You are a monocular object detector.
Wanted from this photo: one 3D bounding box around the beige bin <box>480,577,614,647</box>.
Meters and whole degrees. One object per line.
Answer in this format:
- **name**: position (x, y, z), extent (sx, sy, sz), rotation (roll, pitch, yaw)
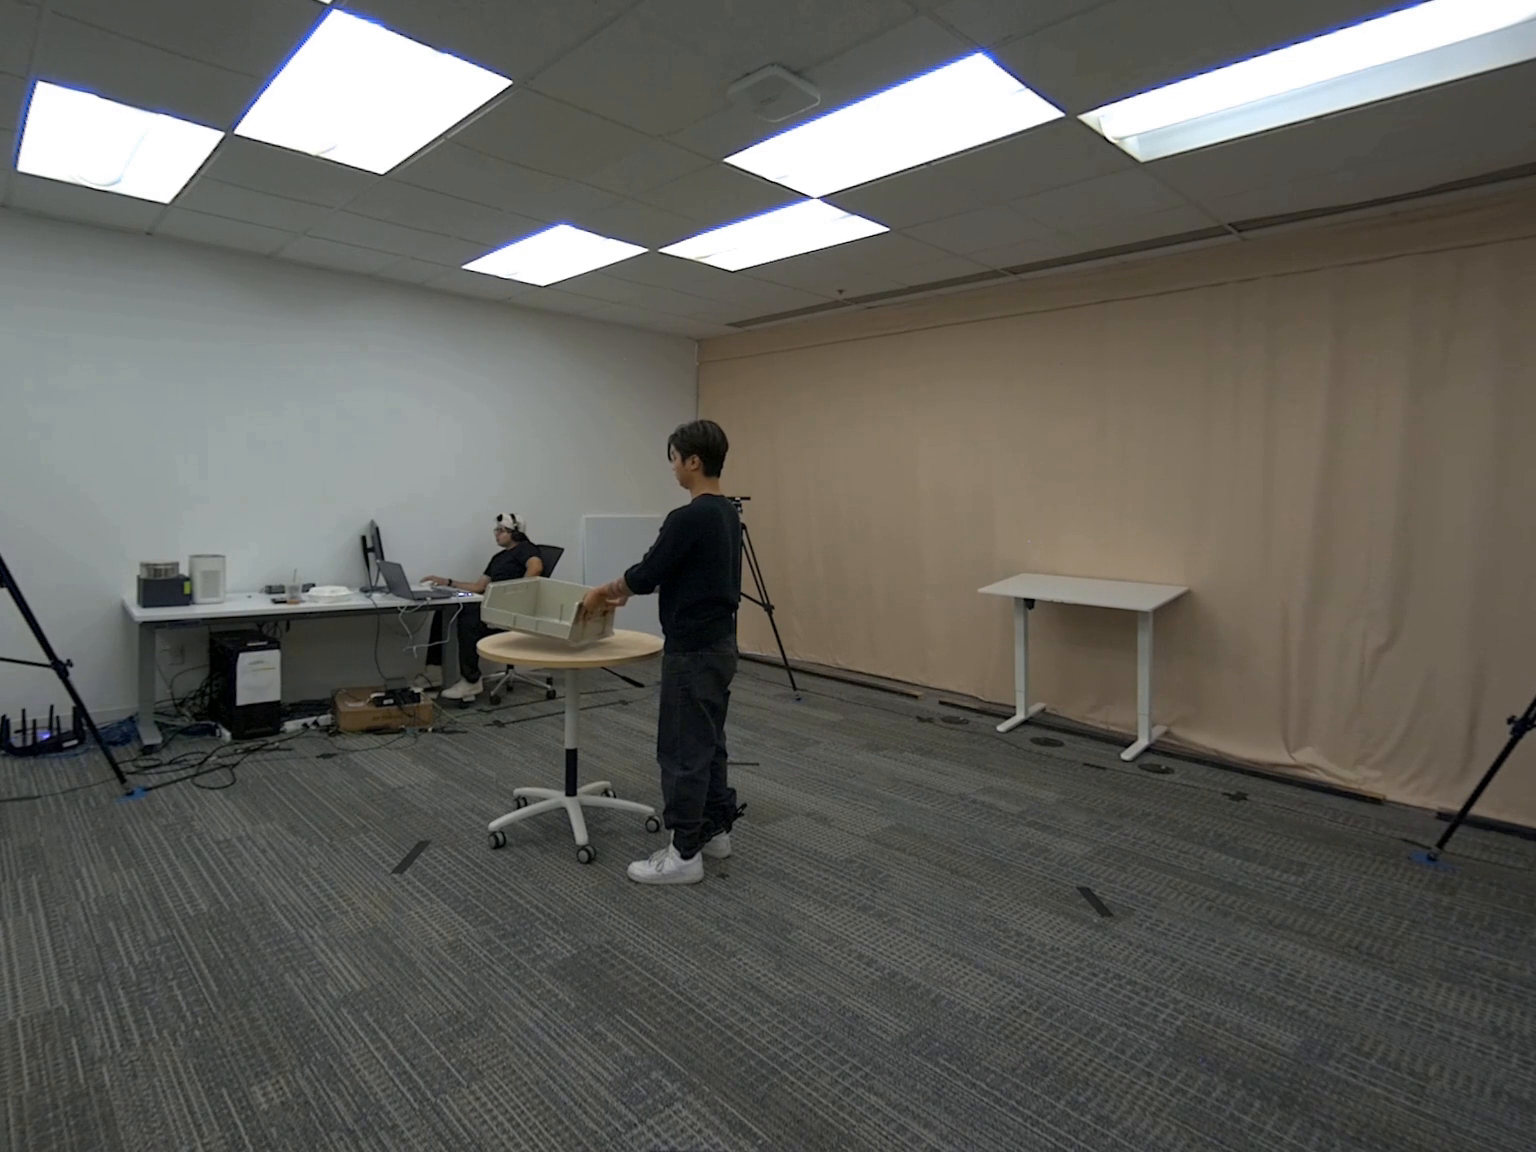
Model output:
- **beige bin**: position (-0.879, 0.137, 3.414), extent (0.429, 0.188, 0.372), rotation (9, 5, 18)
